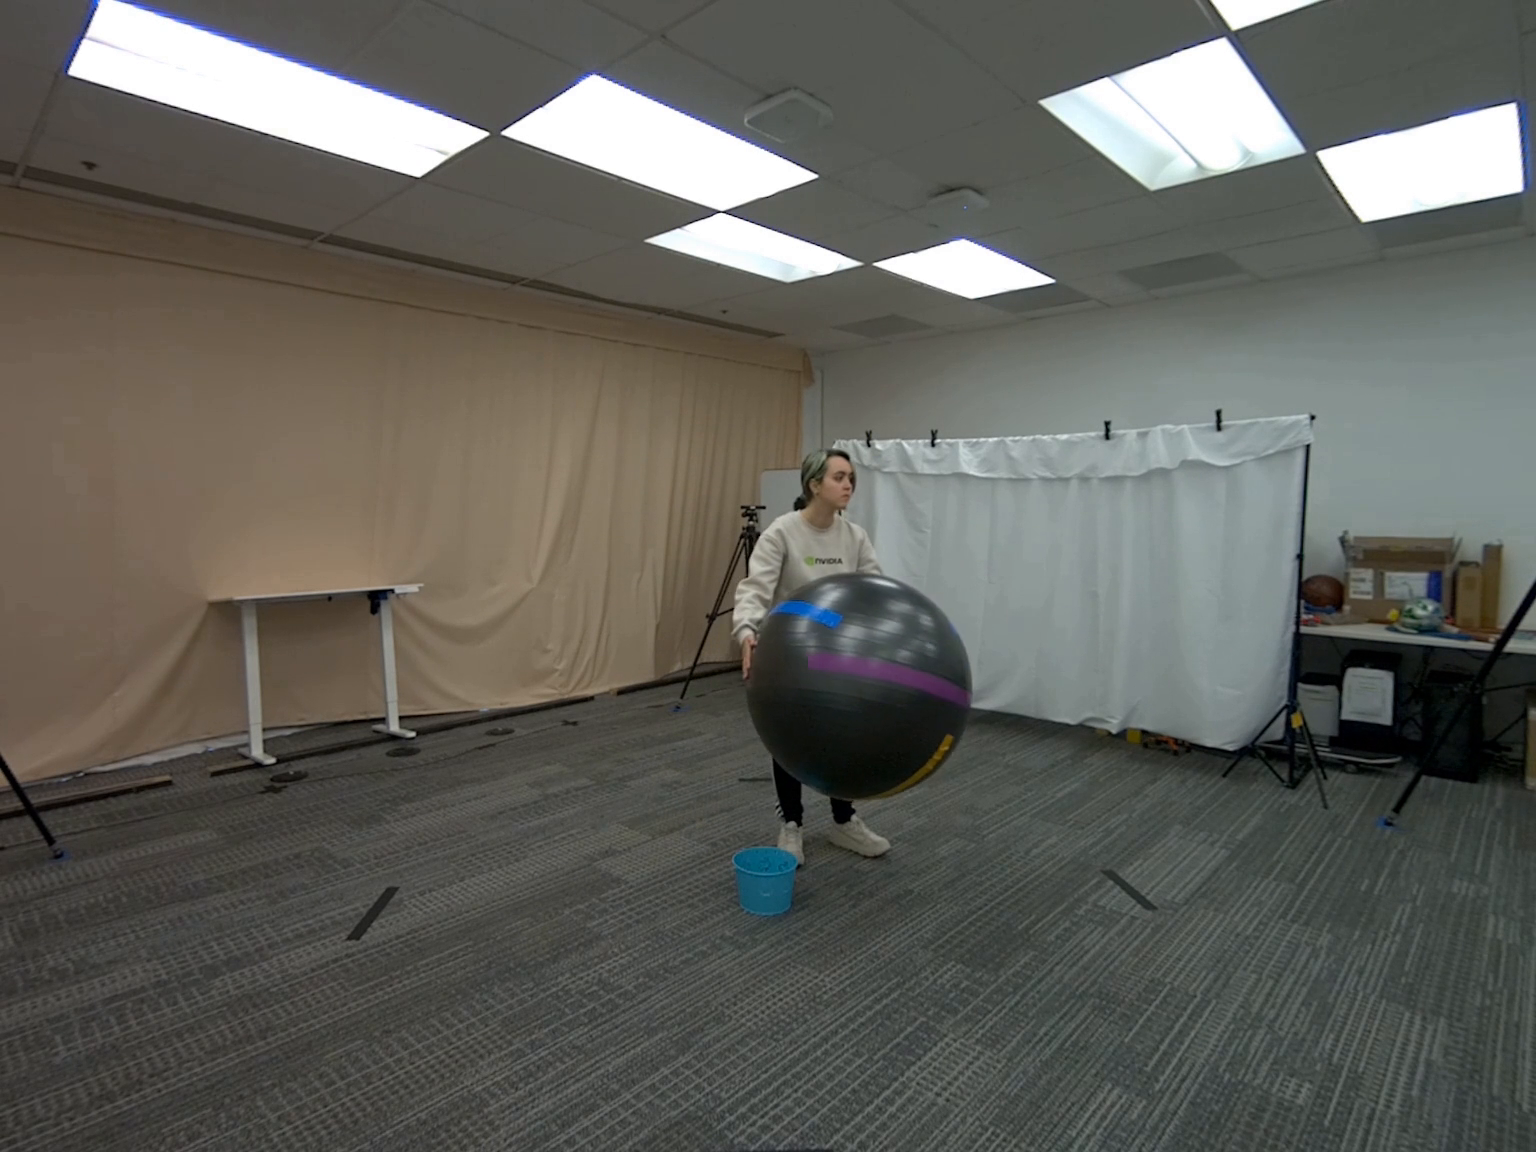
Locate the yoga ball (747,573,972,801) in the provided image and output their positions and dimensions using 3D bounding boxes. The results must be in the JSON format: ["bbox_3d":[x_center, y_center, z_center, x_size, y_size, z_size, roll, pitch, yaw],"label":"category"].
[{"bbox_3d":[0.303,0.378,2.875,0.757,0.756,0.760,0,4,-2],"label":"yoga ball"}]
